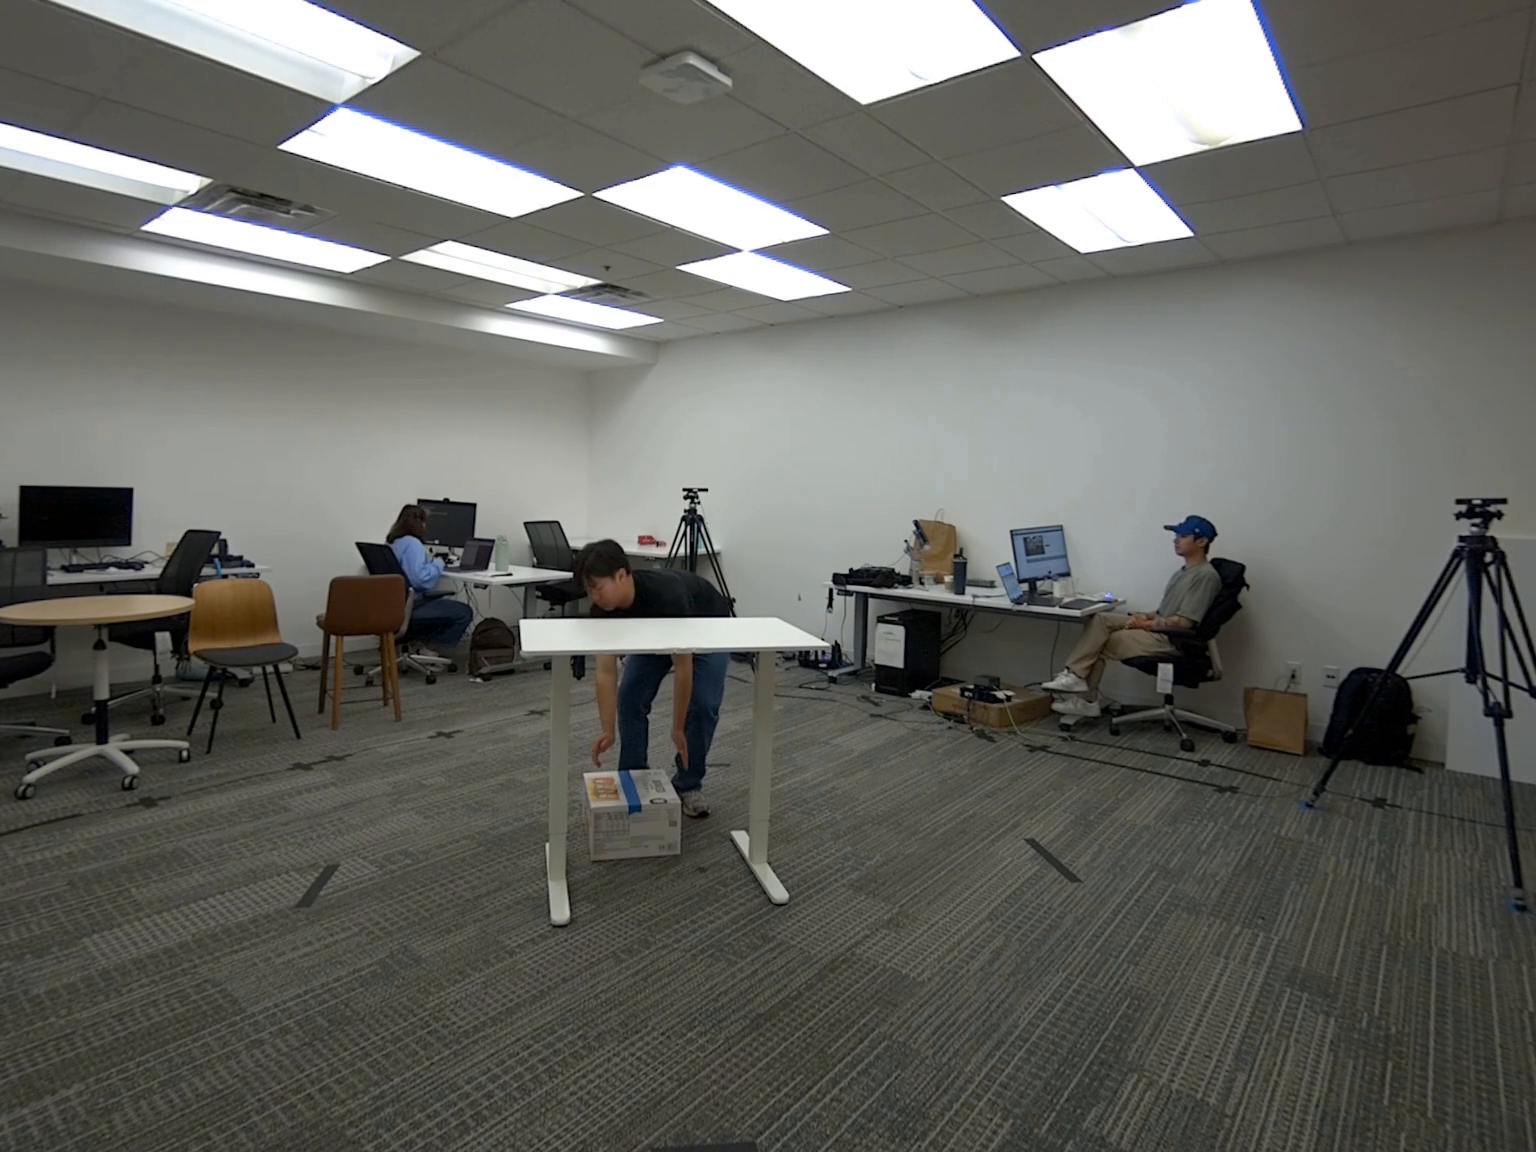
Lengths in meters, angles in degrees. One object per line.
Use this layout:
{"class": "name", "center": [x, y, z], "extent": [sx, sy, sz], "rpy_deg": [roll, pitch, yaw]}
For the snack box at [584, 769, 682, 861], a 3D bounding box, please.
{"class": "snack box", "center": [-0.561, 0.937, 3.378], "extent": [0.335, 0.205, 0.413], "rpy_deg": [0, 5, -15]}
